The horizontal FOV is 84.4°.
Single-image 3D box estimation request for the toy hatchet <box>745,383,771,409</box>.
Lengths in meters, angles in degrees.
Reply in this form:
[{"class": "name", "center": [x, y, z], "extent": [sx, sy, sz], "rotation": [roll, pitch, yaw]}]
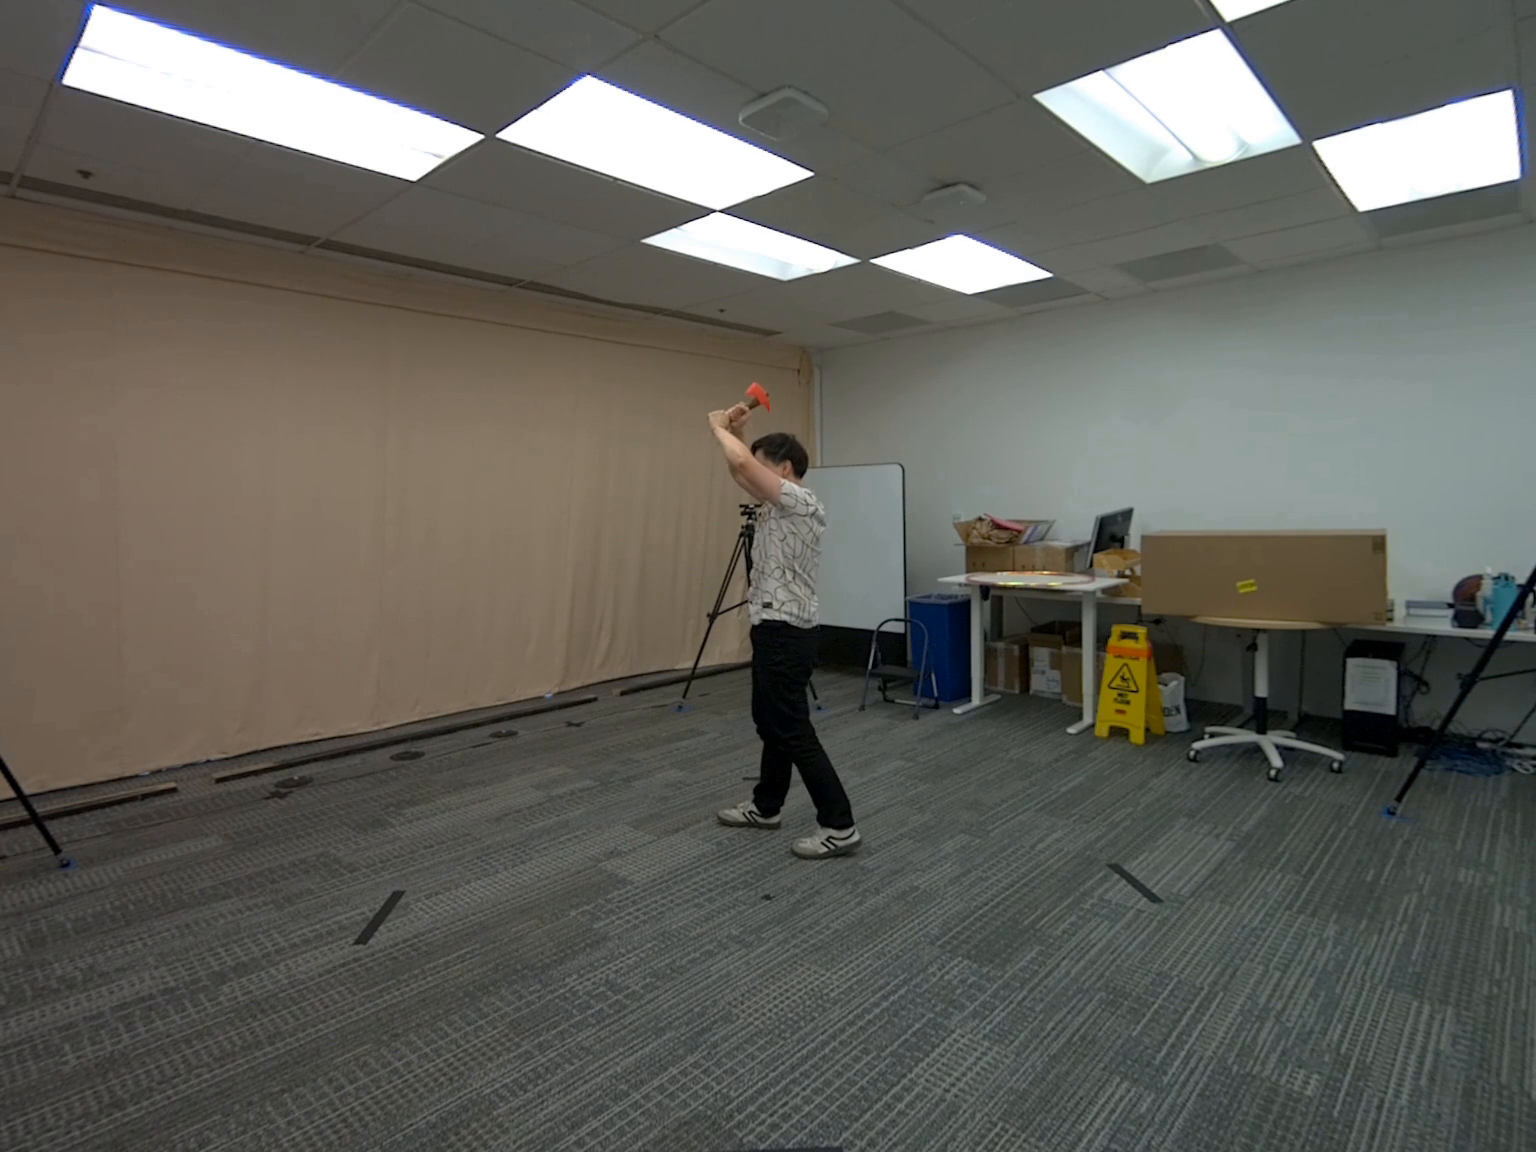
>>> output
[{"class": "toy hatchet", "center": [-0.121, -0.704, 3.413], "extent": [0.267, 0.129, 0.030], "rotation": [-14, 20, -10]}]
